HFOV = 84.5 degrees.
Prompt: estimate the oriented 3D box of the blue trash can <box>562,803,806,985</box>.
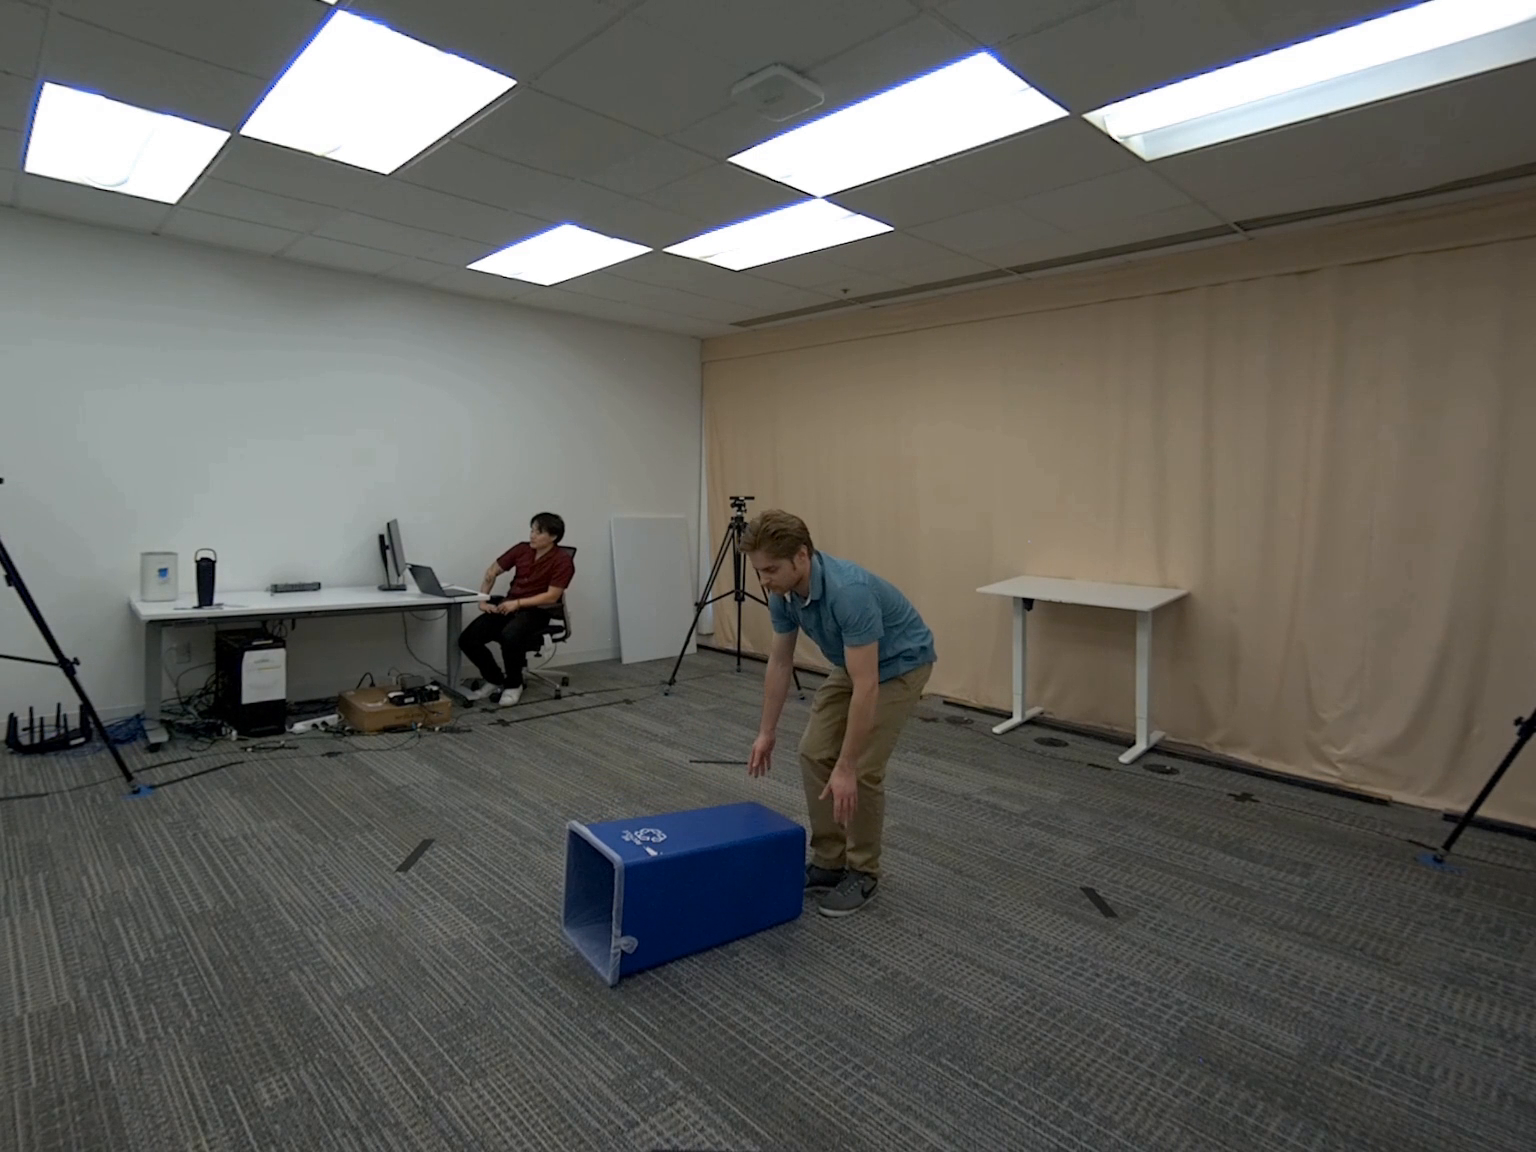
[{"bbox_3d":[-0.264,0.972,2.704,0.697,0.377,0.383,1,3,-36],"label":"blue trash can"}]
